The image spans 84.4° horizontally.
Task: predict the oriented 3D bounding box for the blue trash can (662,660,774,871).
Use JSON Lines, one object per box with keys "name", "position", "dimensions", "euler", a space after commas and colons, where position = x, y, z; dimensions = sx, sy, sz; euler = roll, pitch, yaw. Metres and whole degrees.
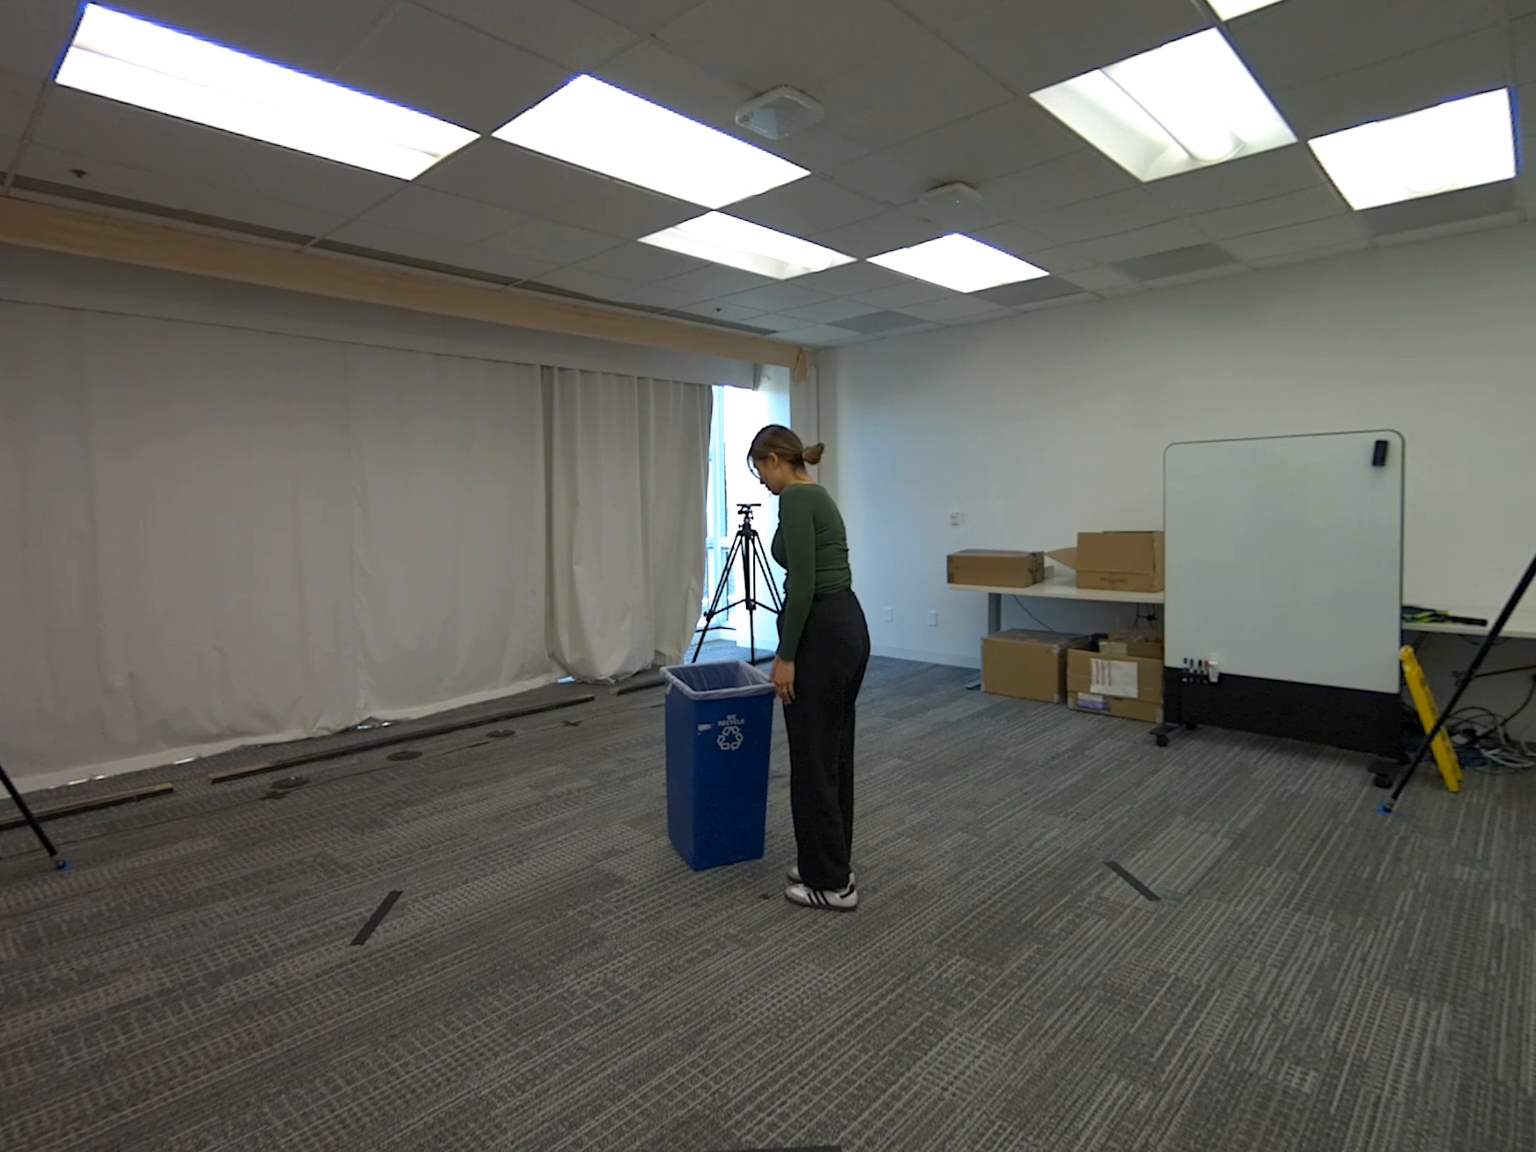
{"name": "blue trash can", "position": [-0.209, 0.738, 3.342], "dimensions": [0.369, 0.710, 0.385], "euler": [-2, 10, -26]}
